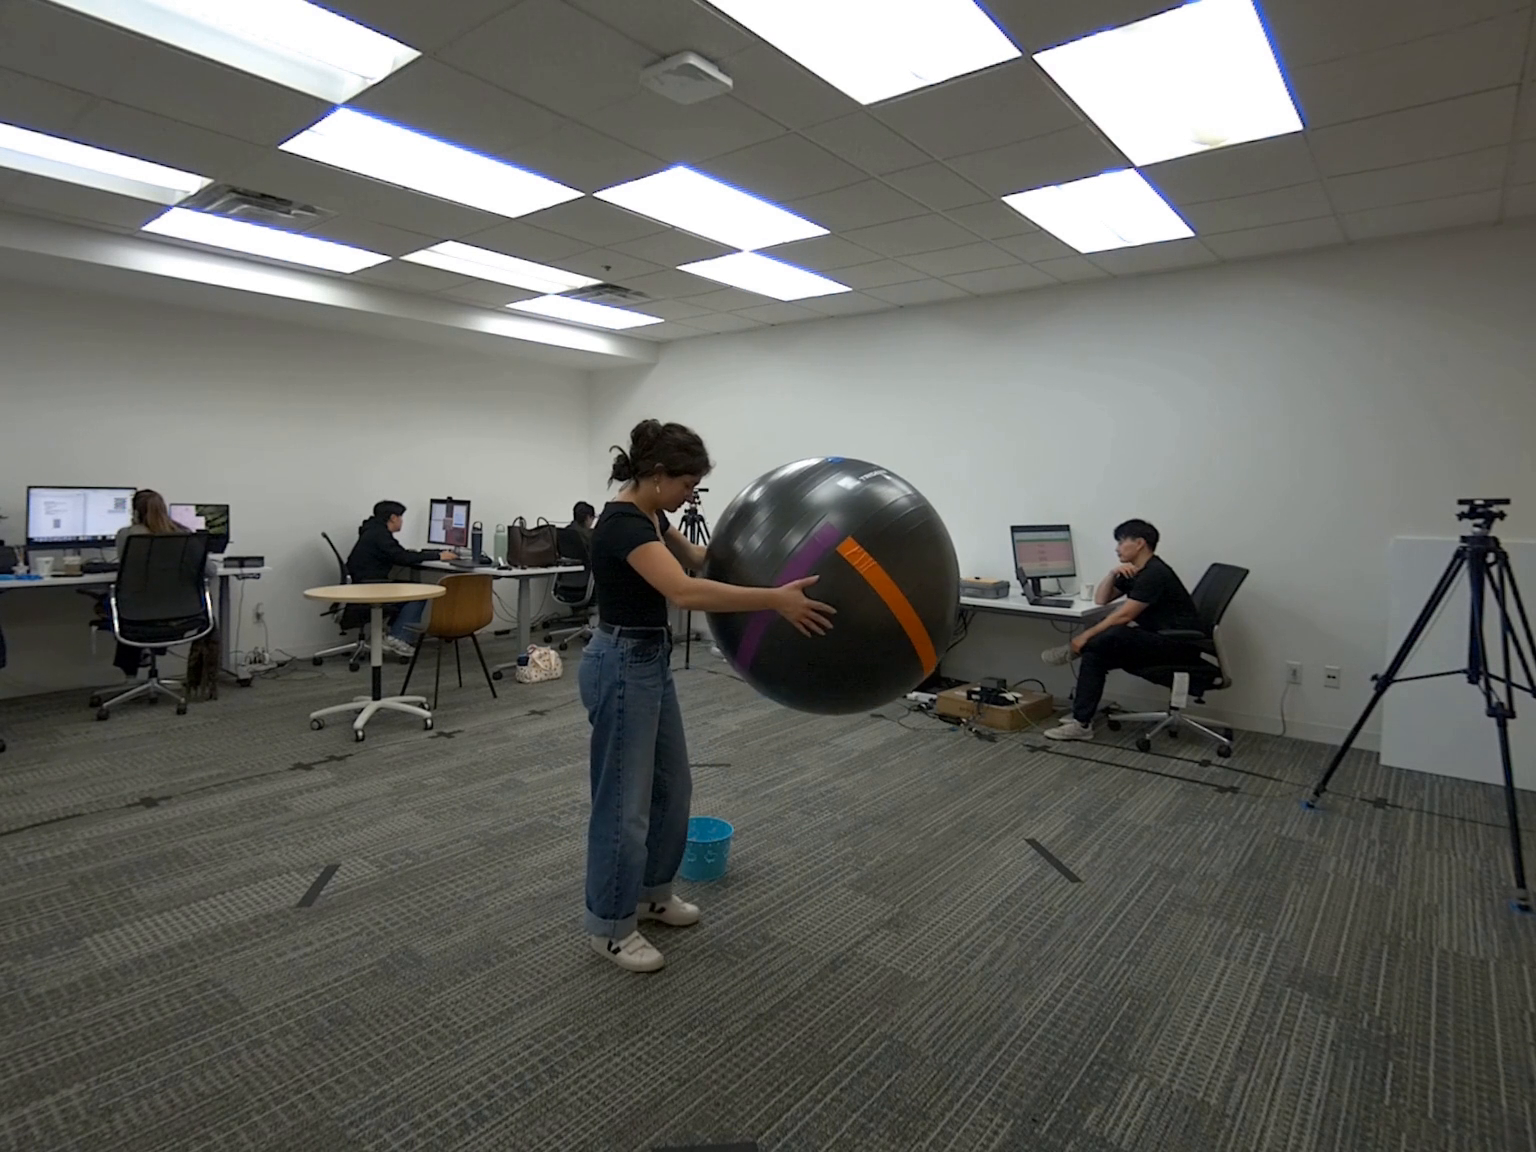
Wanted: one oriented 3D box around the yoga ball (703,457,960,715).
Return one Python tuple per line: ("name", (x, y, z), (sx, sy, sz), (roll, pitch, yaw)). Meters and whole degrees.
("yoga ball", (0.174, 0.033, 2.519), (0.757, 0.756, 0.762), (1, 4, -2))
